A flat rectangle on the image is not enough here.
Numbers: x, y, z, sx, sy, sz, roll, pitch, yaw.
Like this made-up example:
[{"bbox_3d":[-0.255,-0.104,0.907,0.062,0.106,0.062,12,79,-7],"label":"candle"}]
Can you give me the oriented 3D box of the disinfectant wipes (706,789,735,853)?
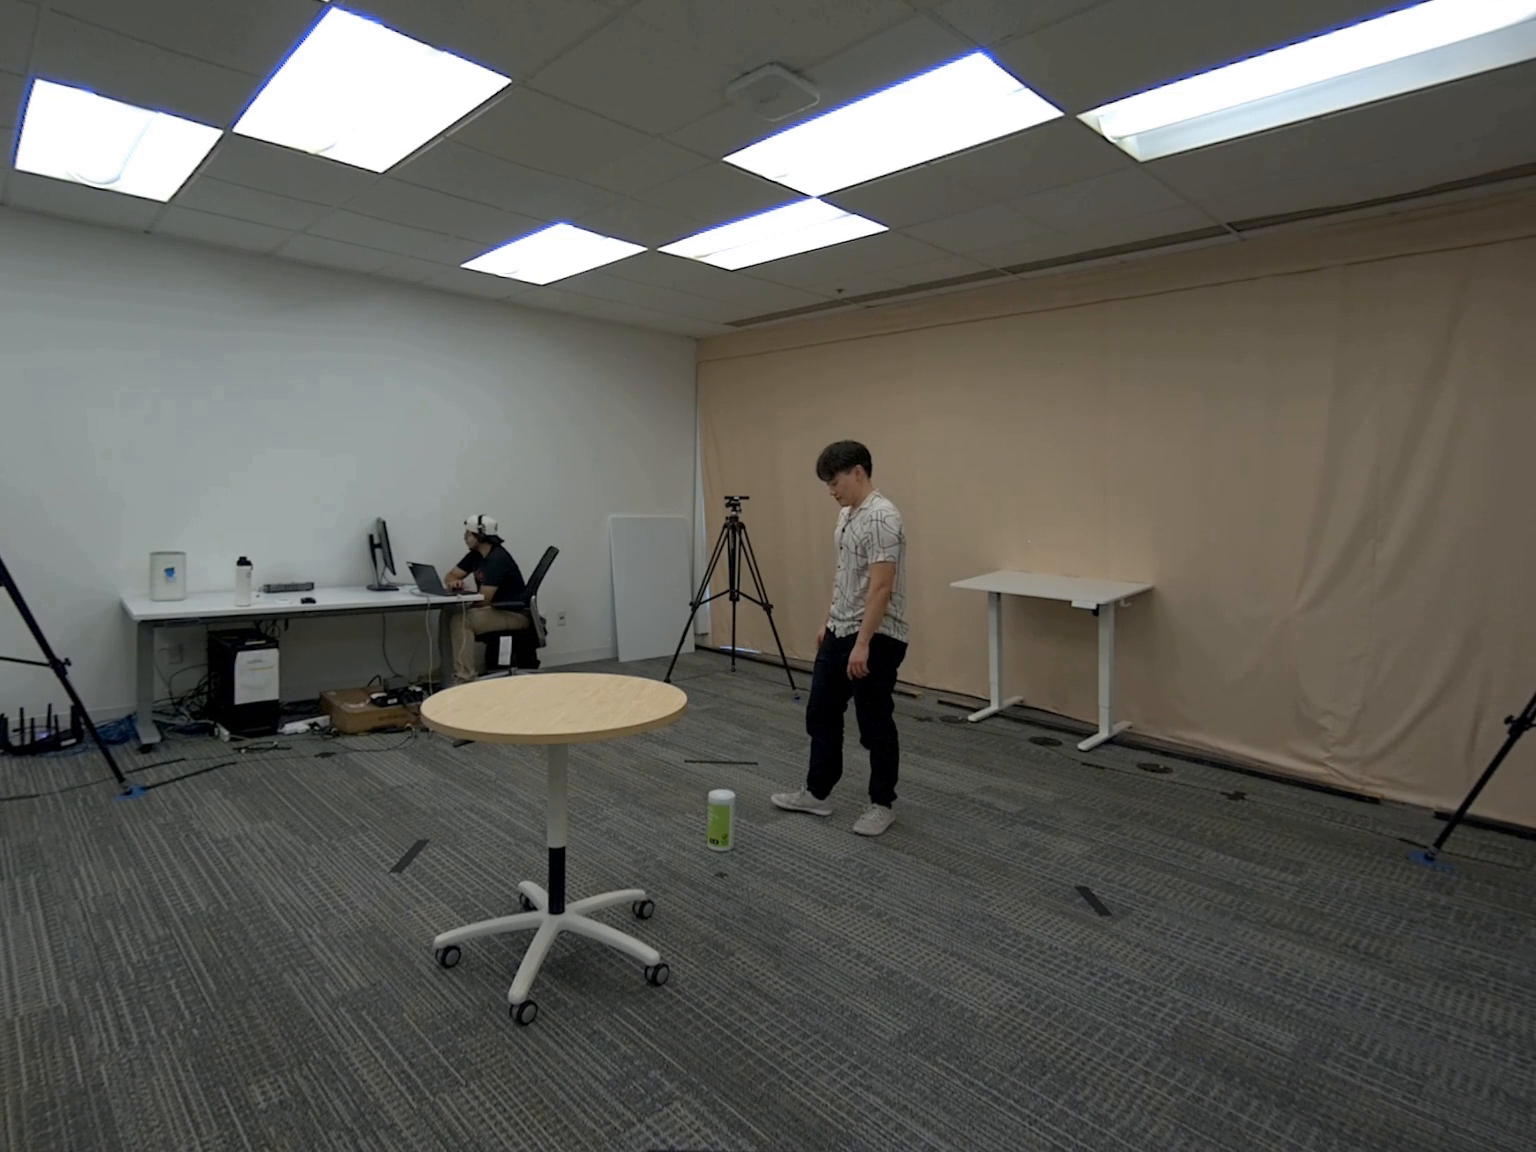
[{"bbox_3d":[-0.193,0.974,3.359,0.118,0.217,0.118,2,5,-2],"label":"disinfectant wipes"}]
